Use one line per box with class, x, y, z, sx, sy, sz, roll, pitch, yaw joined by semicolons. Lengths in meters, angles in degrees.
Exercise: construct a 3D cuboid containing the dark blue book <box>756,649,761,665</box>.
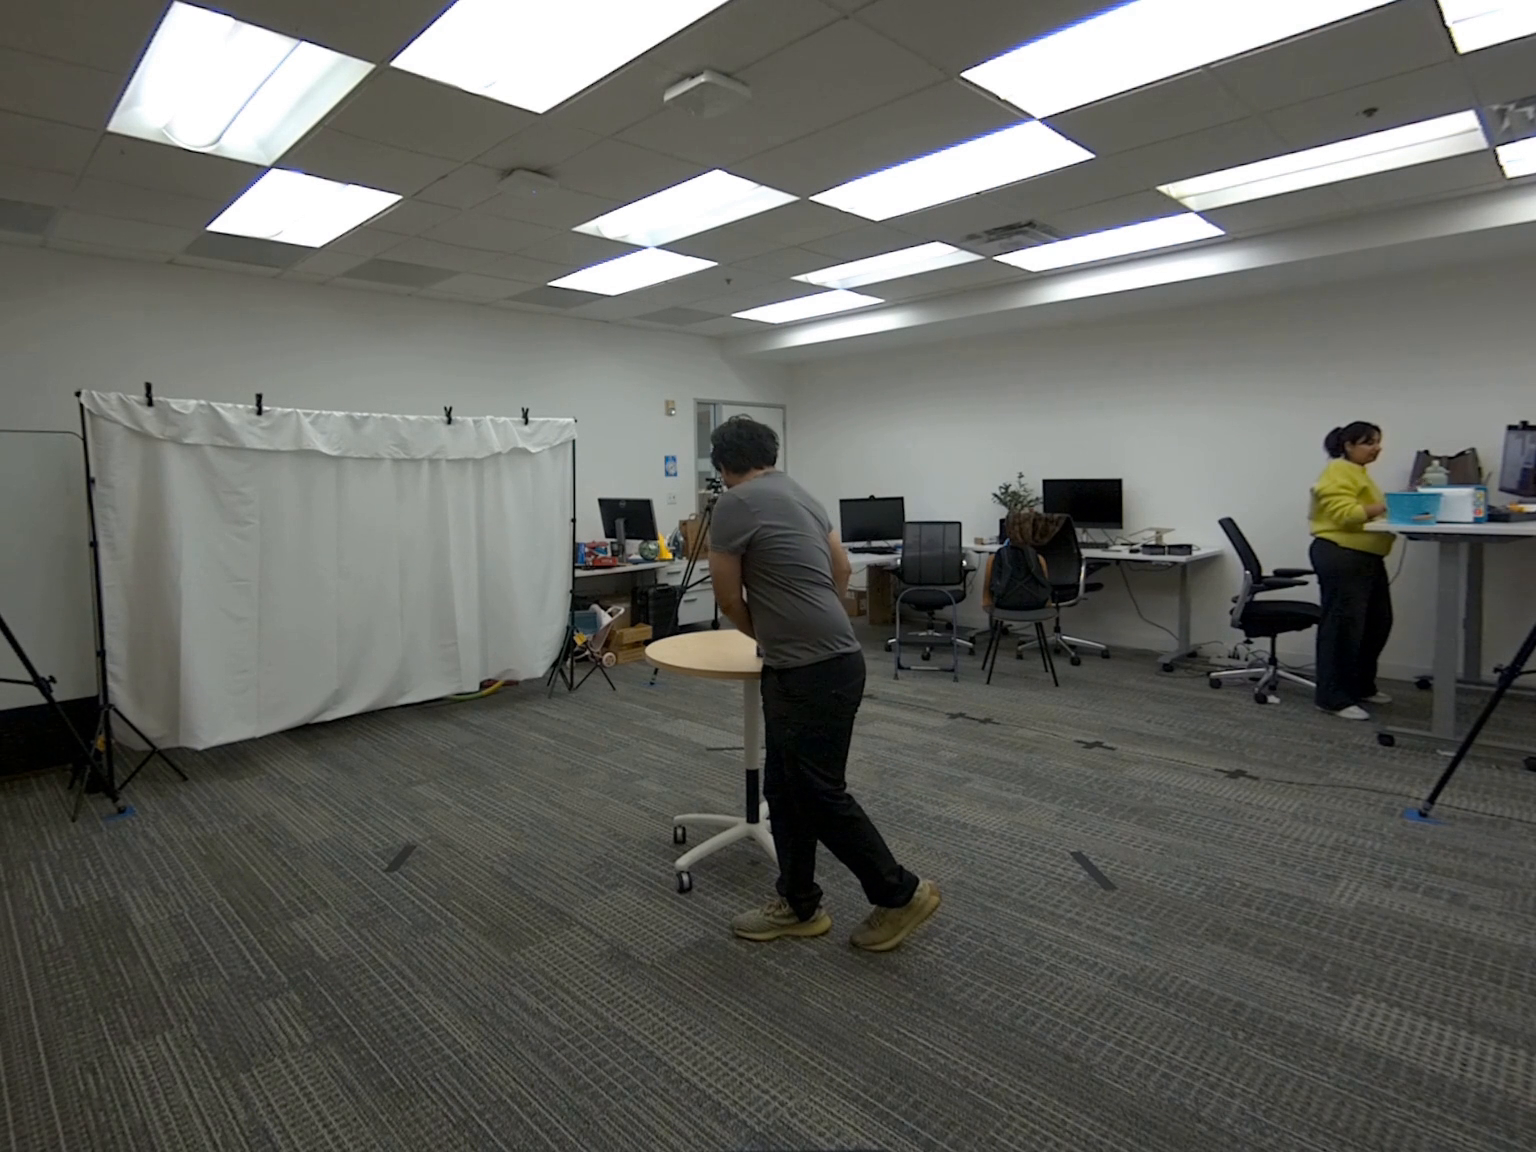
dark blue book;0.109;0.264;2.902;0.253;0.045;0.159;7;9;44
